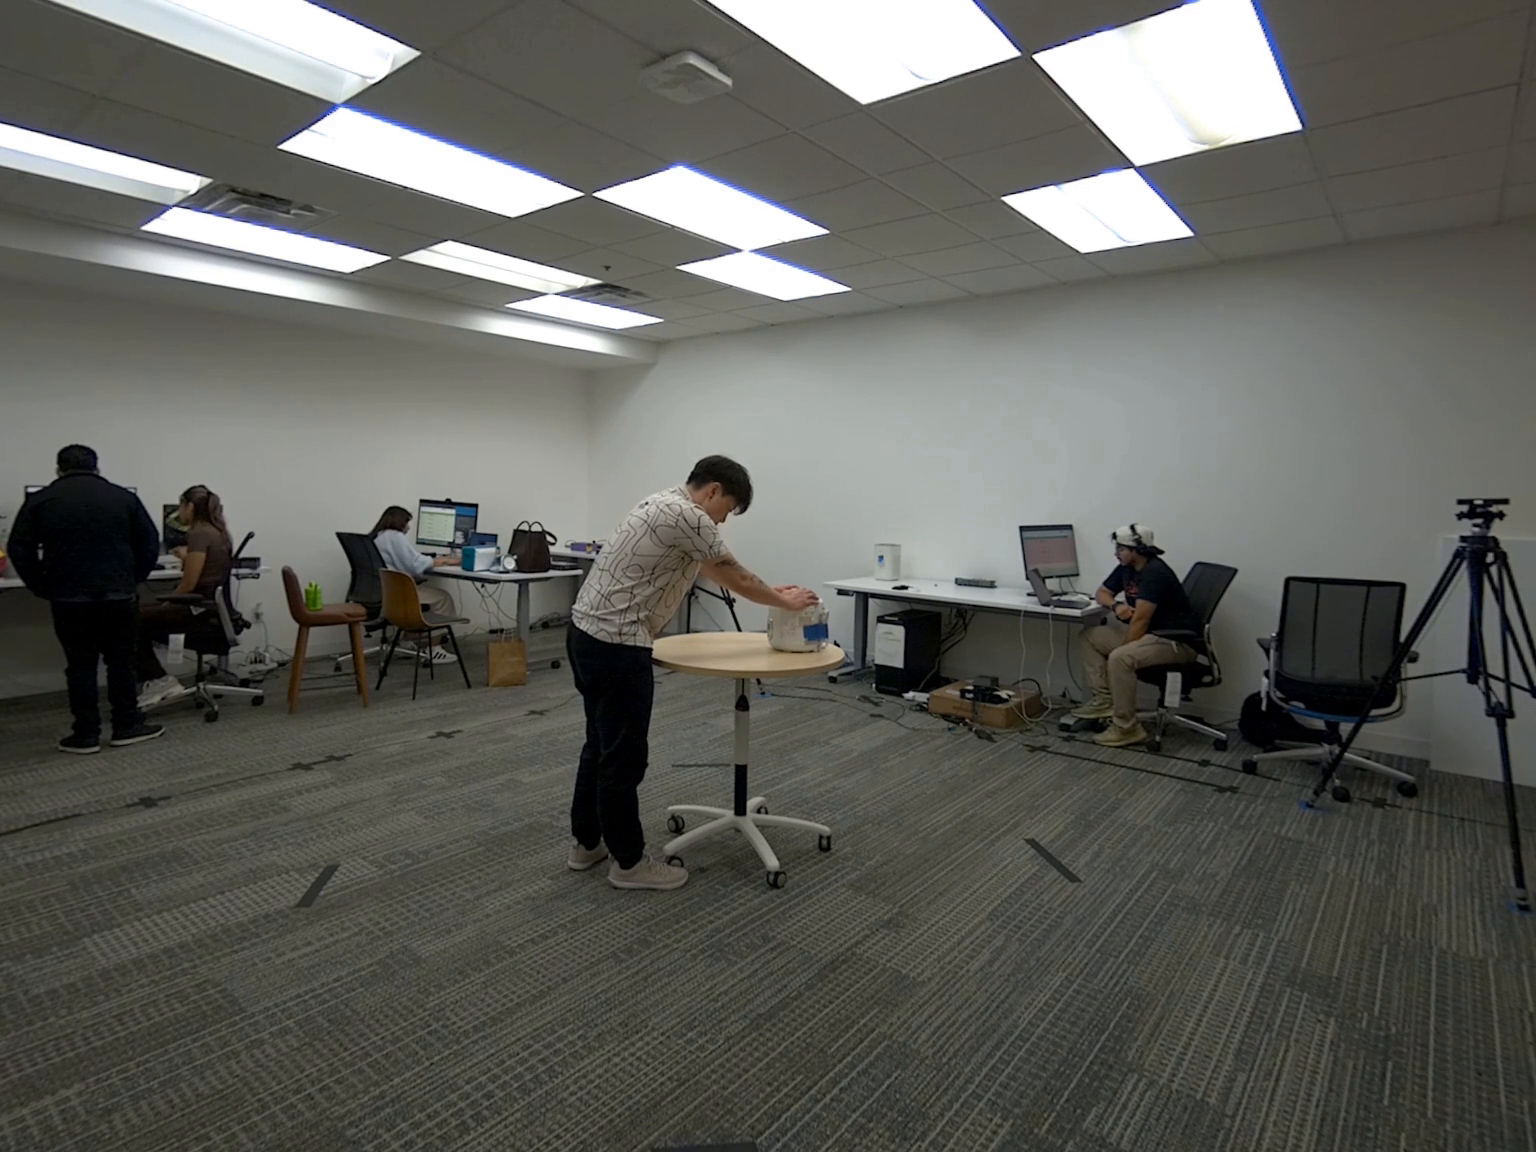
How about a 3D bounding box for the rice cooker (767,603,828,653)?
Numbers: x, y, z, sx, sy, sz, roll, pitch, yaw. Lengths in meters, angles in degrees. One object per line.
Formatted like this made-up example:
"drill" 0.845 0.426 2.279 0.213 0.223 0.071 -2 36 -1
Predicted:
"rice cooker" 0.098 0.166 3.269 0.214 0.232 0.224 1 4 -14
